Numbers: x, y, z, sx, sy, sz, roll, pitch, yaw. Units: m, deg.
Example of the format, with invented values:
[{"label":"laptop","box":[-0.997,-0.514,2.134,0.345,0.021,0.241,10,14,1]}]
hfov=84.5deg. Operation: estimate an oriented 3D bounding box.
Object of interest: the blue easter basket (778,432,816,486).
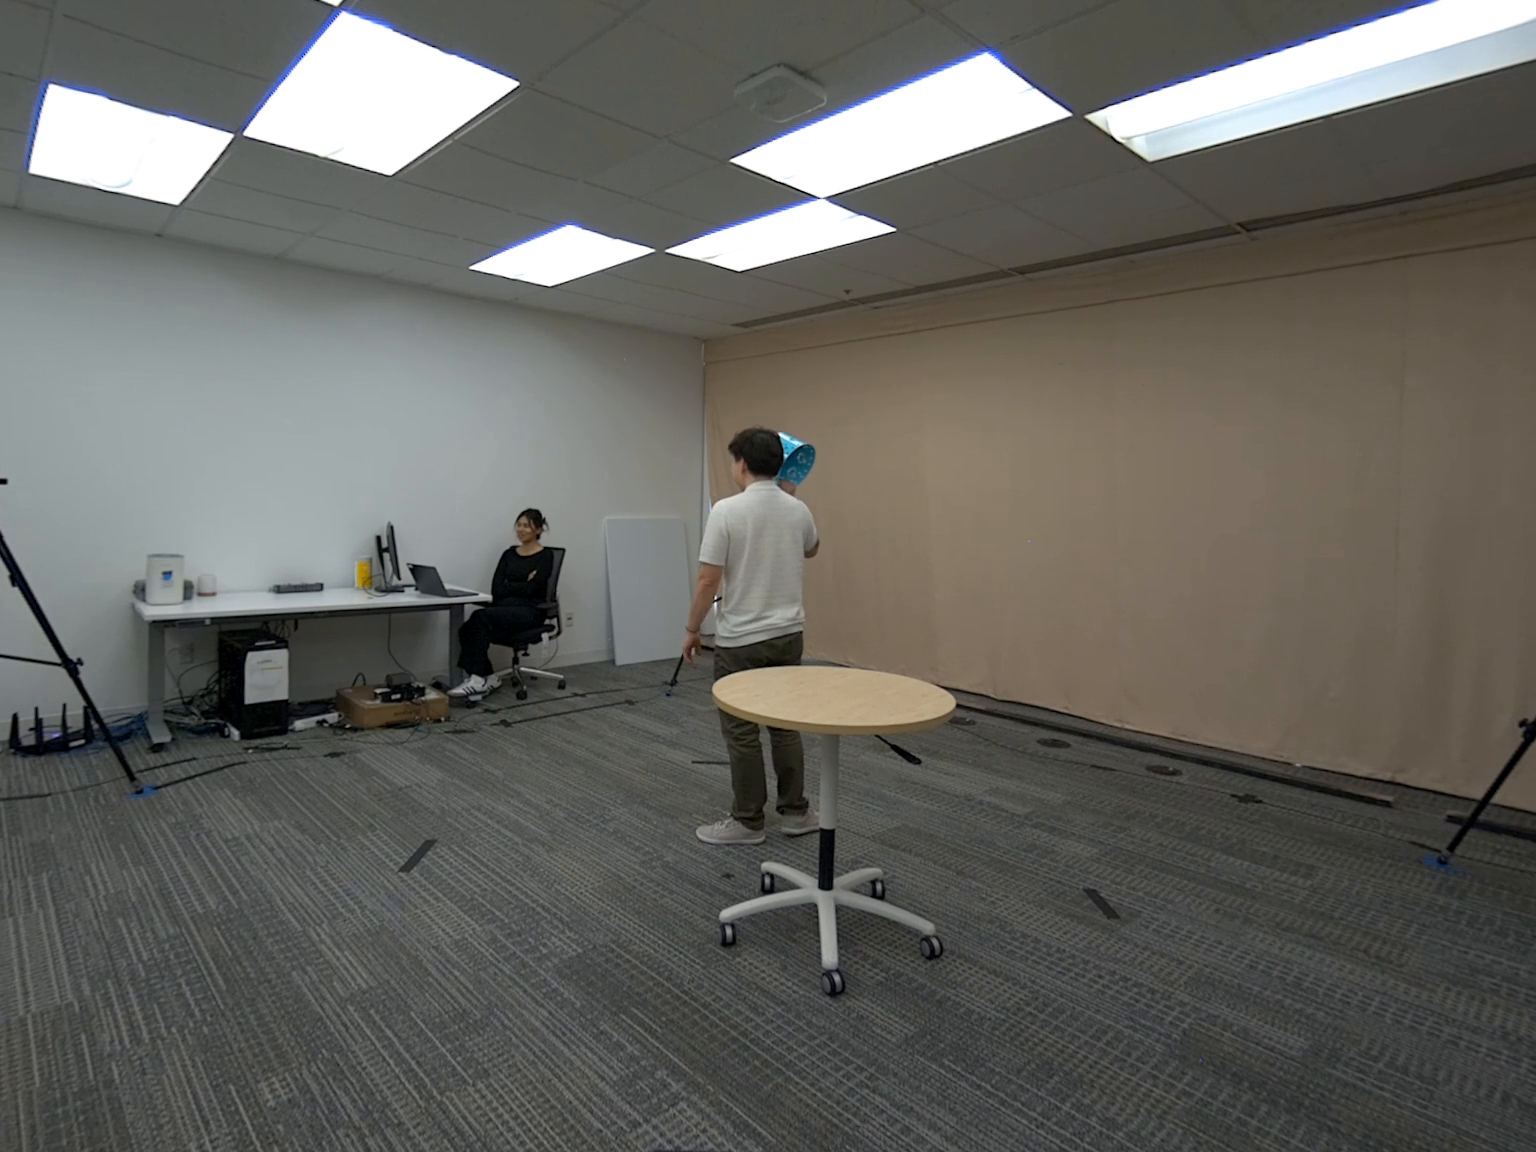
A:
[{"label":"blue easter basket","box":[0.071,-0.508,3.697,0.160,0.242,0.238,39,25,29]}]
